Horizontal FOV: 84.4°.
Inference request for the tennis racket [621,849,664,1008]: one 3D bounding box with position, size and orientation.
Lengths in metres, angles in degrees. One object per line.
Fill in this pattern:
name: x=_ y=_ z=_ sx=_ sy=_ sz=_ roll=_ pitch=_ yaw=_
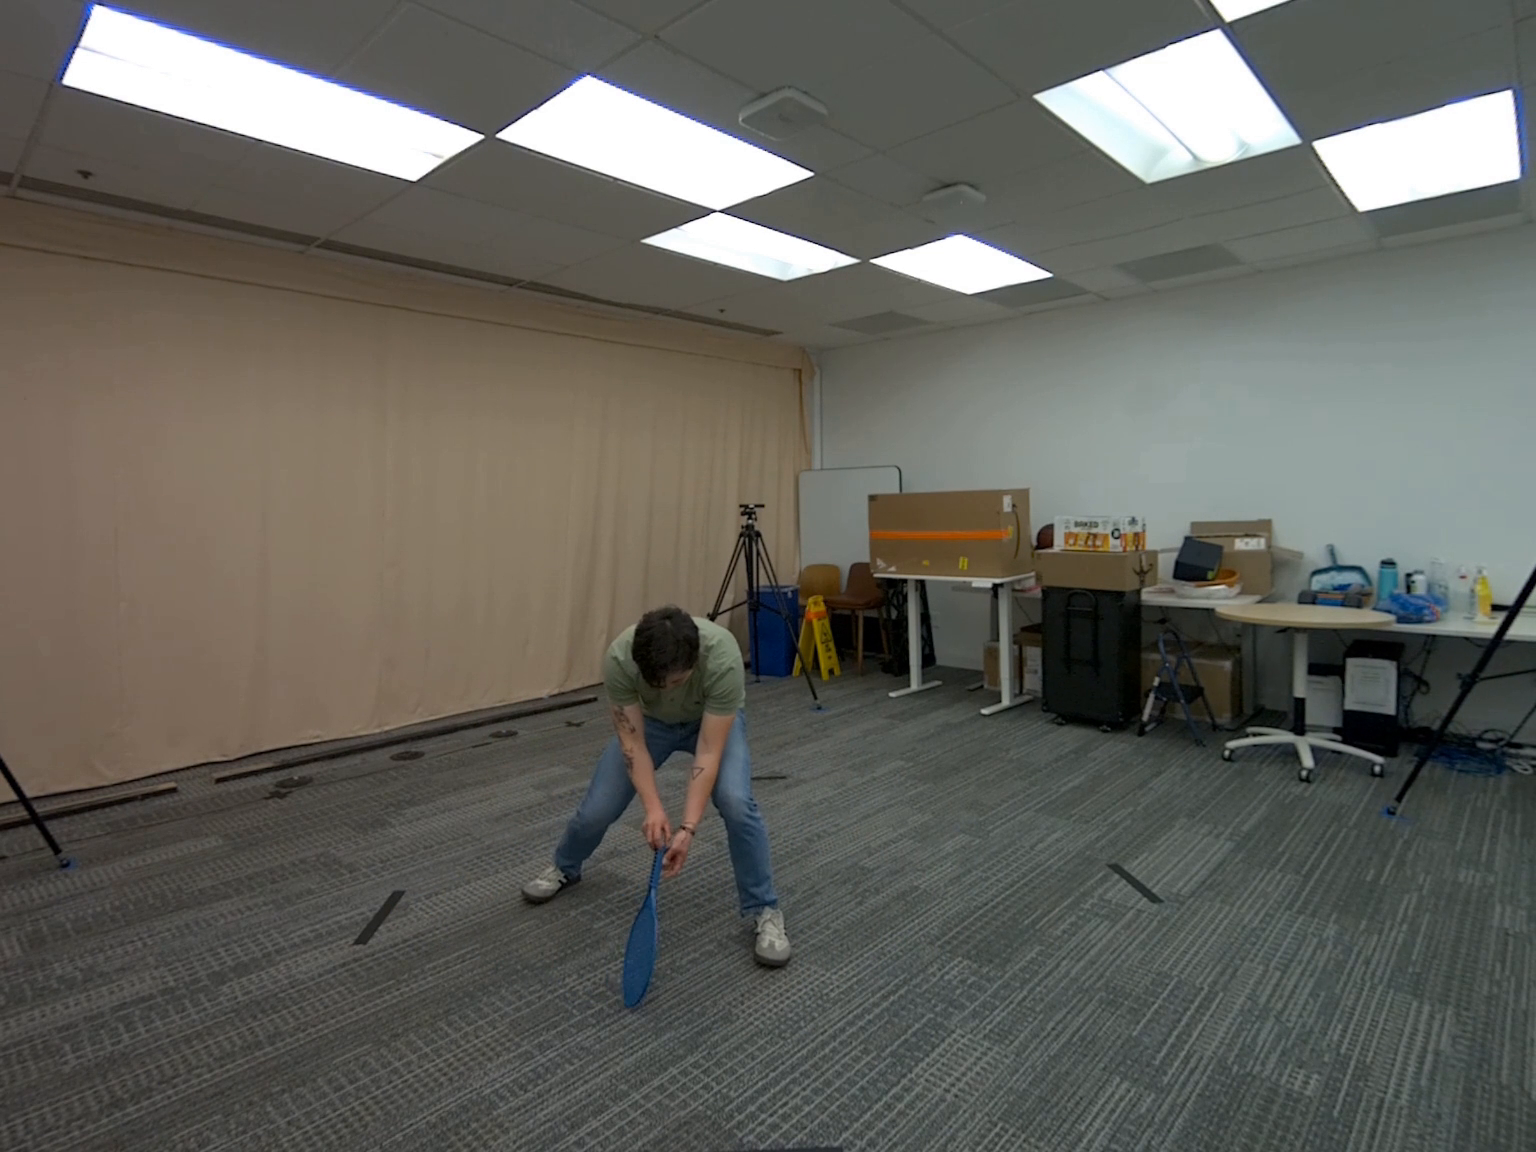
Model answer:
tennis racket: x=-0.354 y=1.003 z=2.419 sx=0.031 sy=0.438 sz=0.216 roll=19 pitch=-28 yaw=-22
